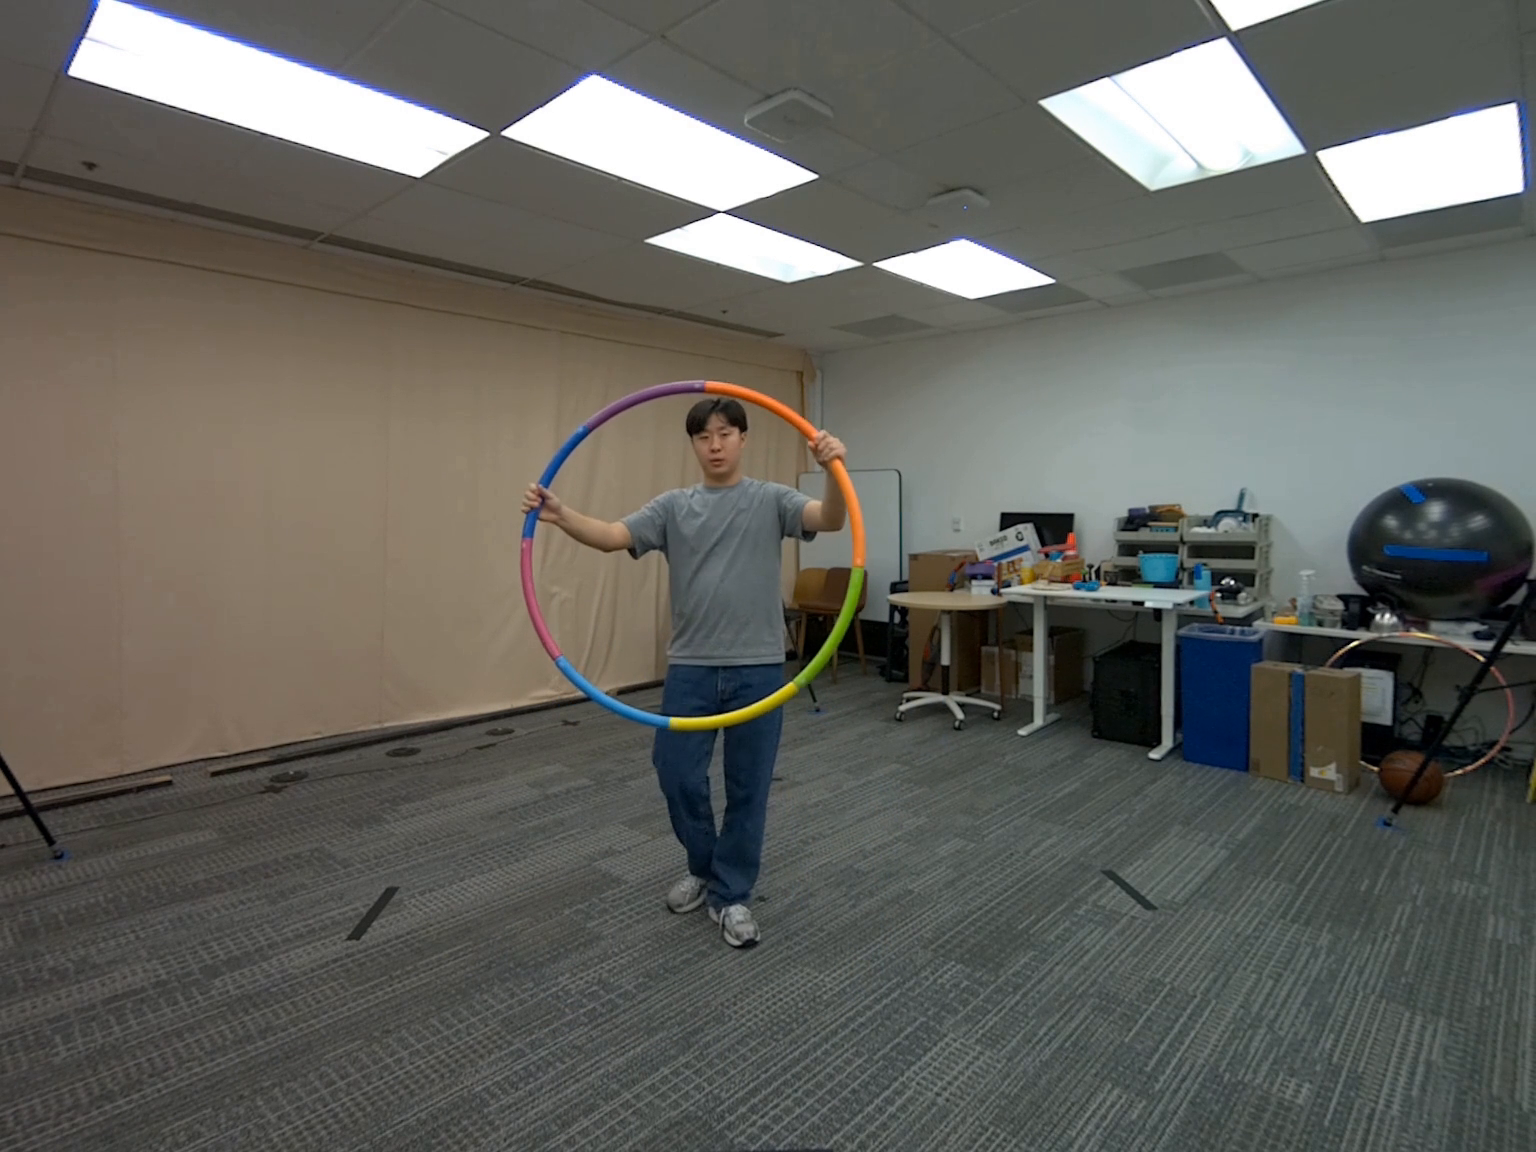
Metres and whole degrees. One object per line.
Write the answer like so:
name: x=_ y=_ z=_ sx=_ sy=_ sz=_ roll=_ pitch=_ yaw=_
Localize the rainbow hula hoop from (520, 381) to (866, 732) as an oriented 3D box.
rainbow hula hoop: x=-0.216 y=-0.069 z=2.383 sx=0.987 sy=0.982 sz=0.035 roll=0 pitch=-7 yaw=8
